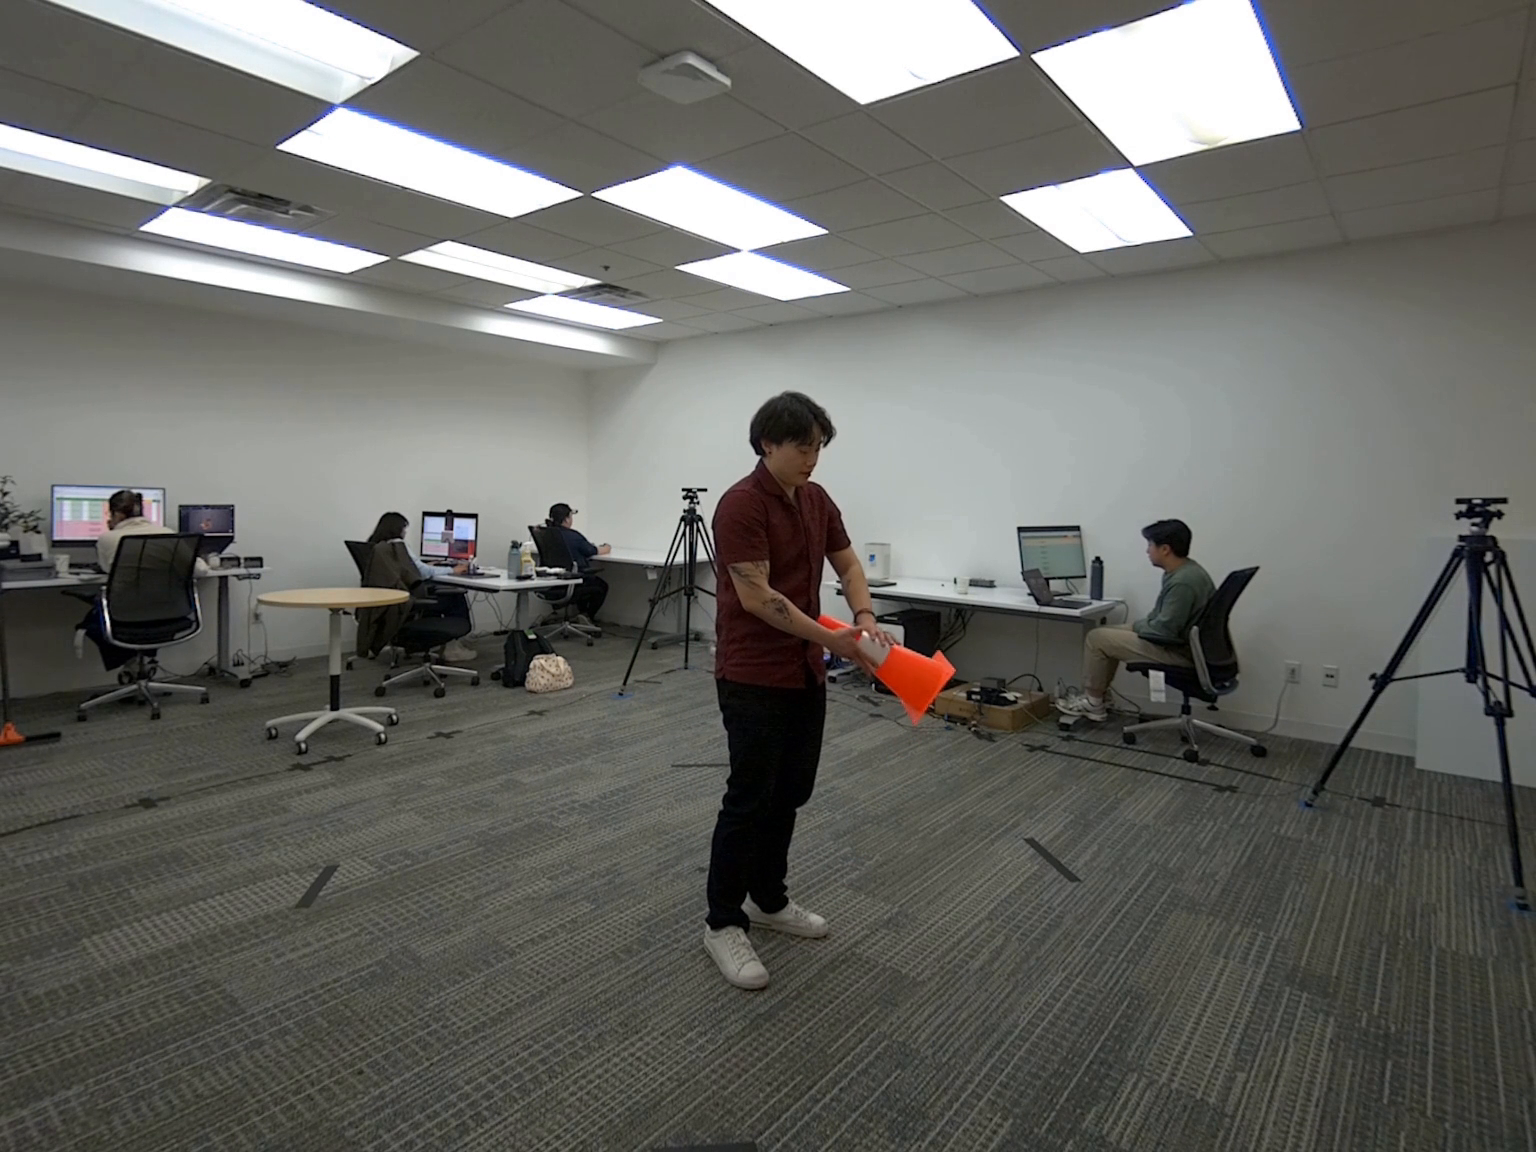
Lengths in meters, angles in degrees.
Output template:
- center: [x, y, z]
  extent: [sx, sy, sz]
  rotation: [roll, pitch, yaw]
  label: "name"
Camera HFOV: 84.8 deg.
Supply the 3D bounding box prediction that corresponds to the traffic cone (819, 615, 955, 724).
- center: [0.305, 0.220, 2.491]
  extent: [0.381, 0.204, 0.205]
  rotation: [33, 10, -5]
  label: "traffic cone"
